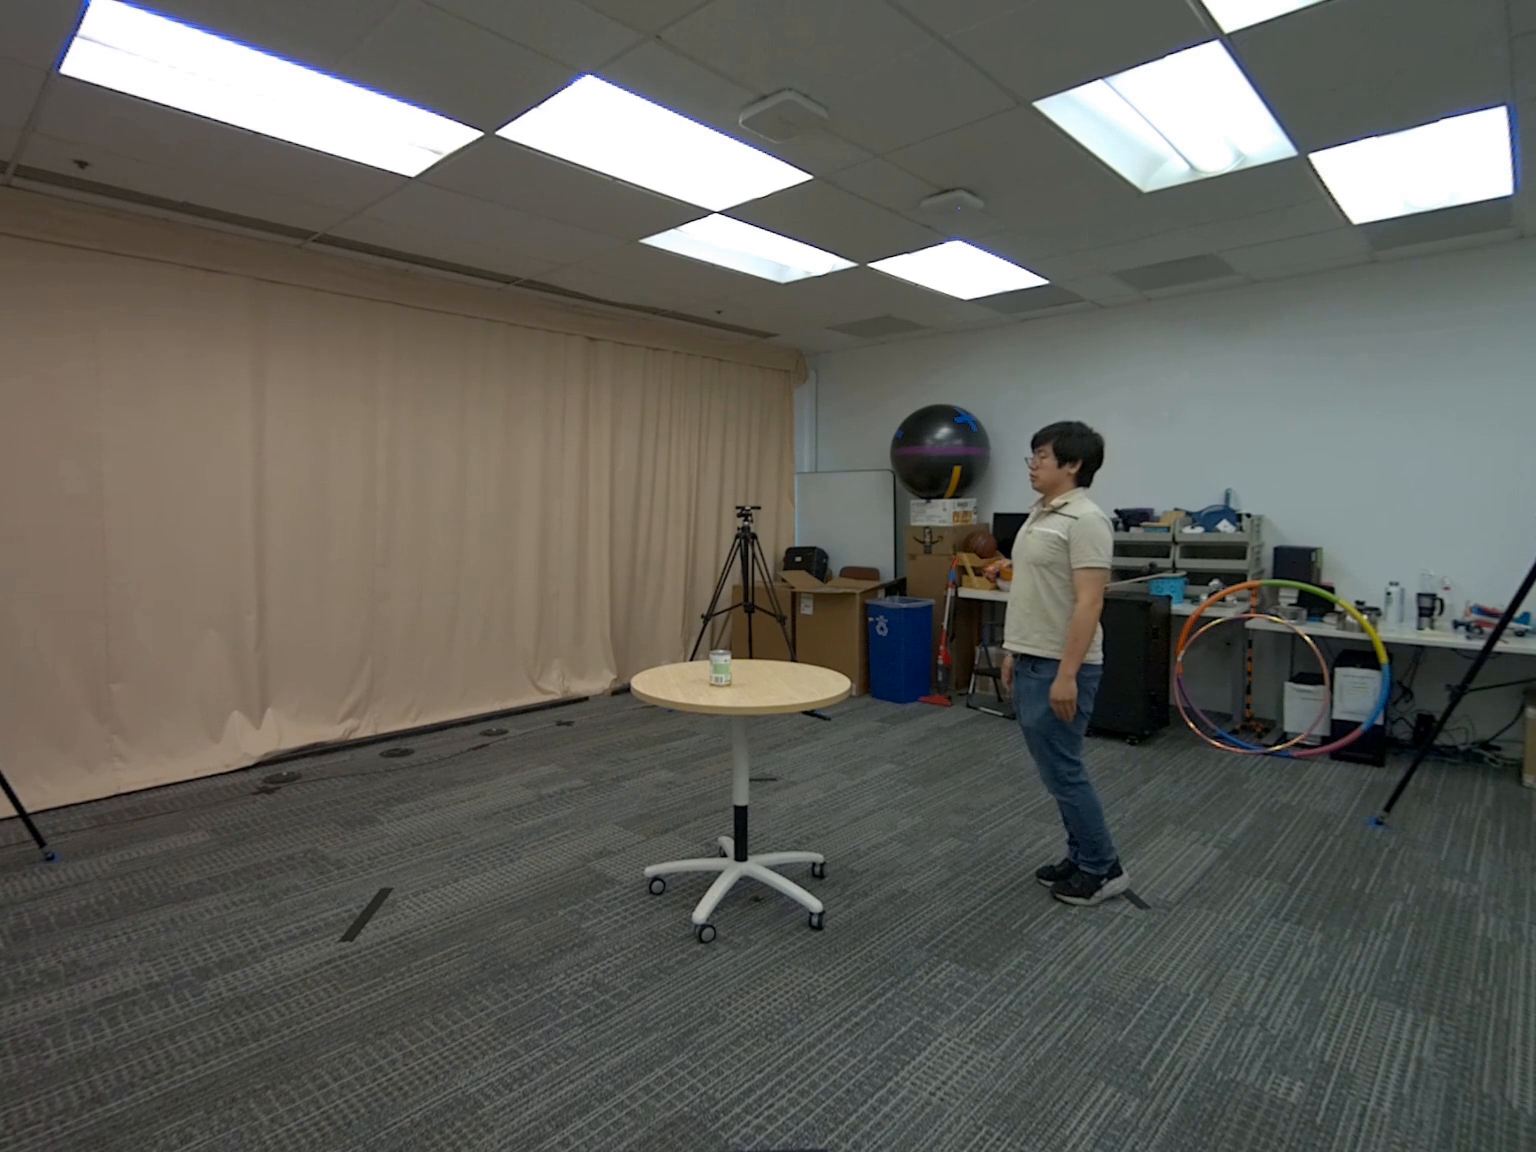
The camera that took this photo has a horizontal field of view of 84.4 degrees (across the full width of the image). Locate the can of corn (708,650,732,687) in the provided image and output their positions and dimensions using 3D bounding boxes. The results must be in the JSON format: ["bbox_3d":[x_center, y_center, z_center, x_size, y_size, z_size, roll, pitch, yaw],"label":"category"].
[{"bbox_3d":[-0.159,0.322,2.866,0.074,0.111,0.074,0,1,-2],"label":"can of corn"}]
